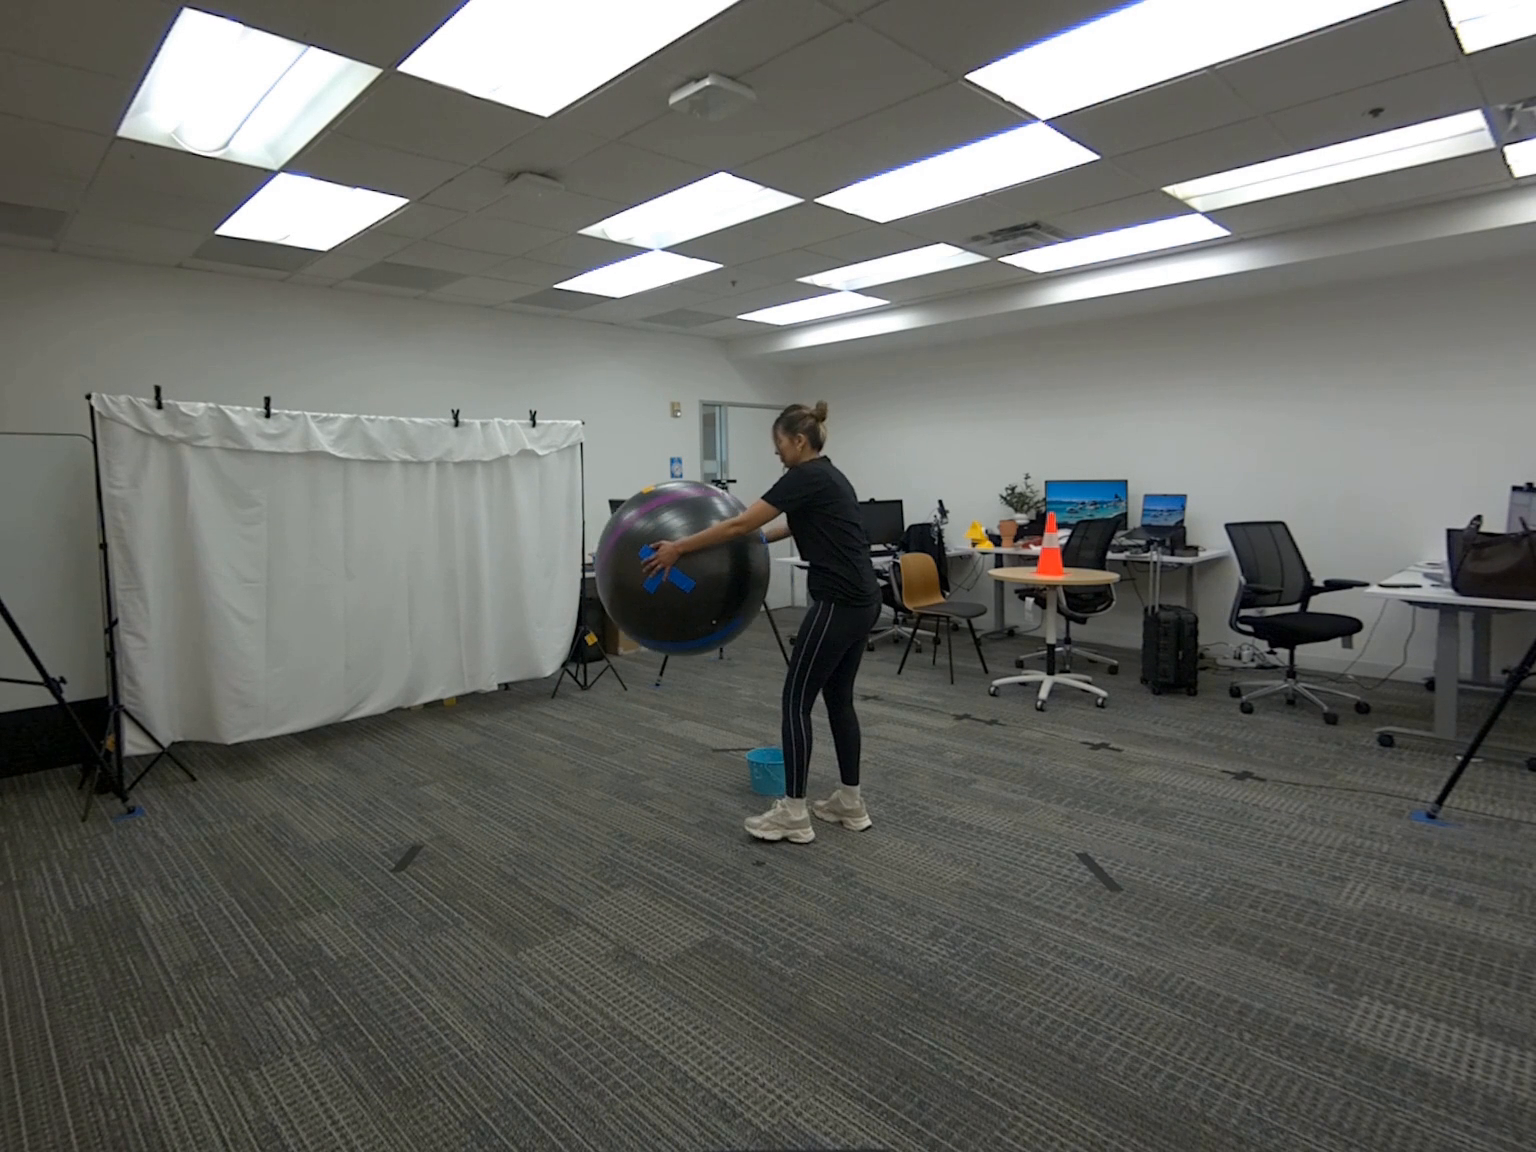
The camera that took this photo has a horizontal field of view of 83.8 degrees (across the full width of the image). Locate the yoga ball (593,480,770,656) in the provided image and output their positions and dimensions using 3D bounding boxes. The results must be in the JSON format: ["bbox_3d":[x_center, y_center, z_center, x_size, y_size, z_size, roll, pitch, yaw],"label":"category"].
[{"bbox_3d":[-0.368,-0.025,3.703,0.757,0.755,0.762,-1,5,-2],"label":"yoga ball"}]
